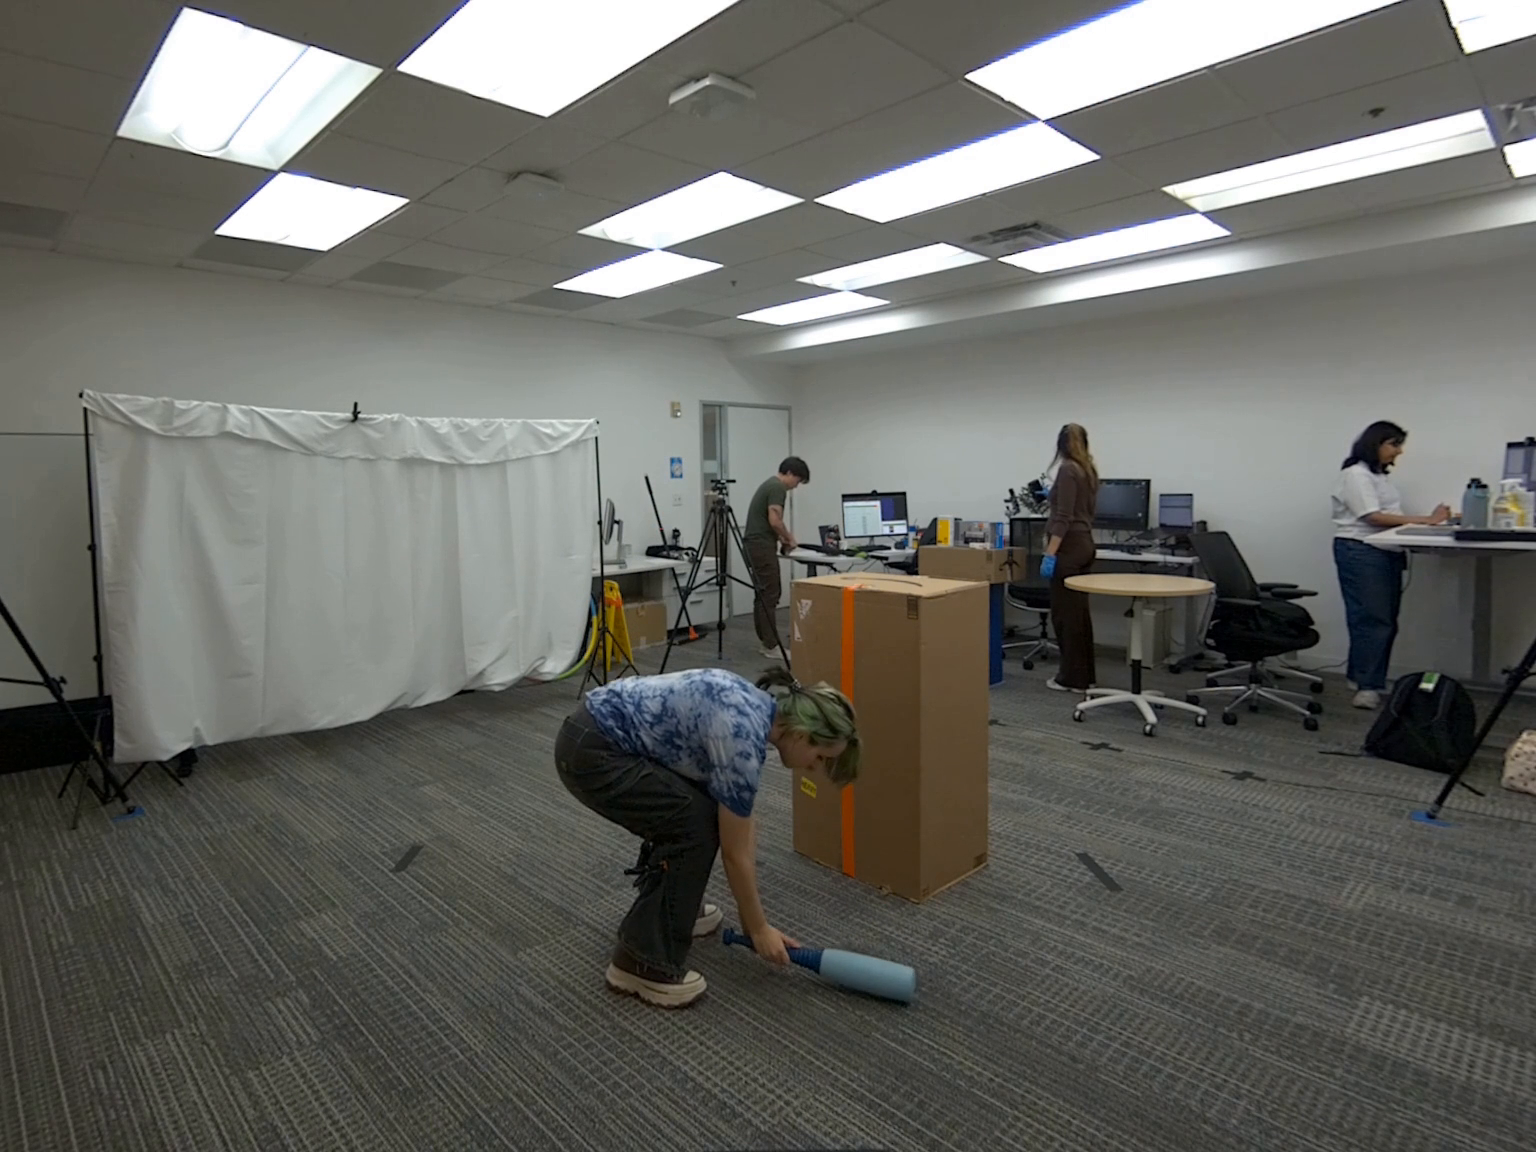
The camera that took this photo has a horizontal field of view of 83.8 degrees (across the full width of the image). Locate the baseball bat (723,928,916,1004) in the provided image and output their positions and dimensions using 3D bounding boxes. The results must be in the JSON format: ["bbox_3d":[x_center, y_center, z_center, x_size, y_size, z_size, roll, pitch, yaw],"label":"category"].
[{"bbox_3d":[0.135,1.060,2.366,0.554,0.088,0.088,4,6,20],"label":"baseball bat"}]
